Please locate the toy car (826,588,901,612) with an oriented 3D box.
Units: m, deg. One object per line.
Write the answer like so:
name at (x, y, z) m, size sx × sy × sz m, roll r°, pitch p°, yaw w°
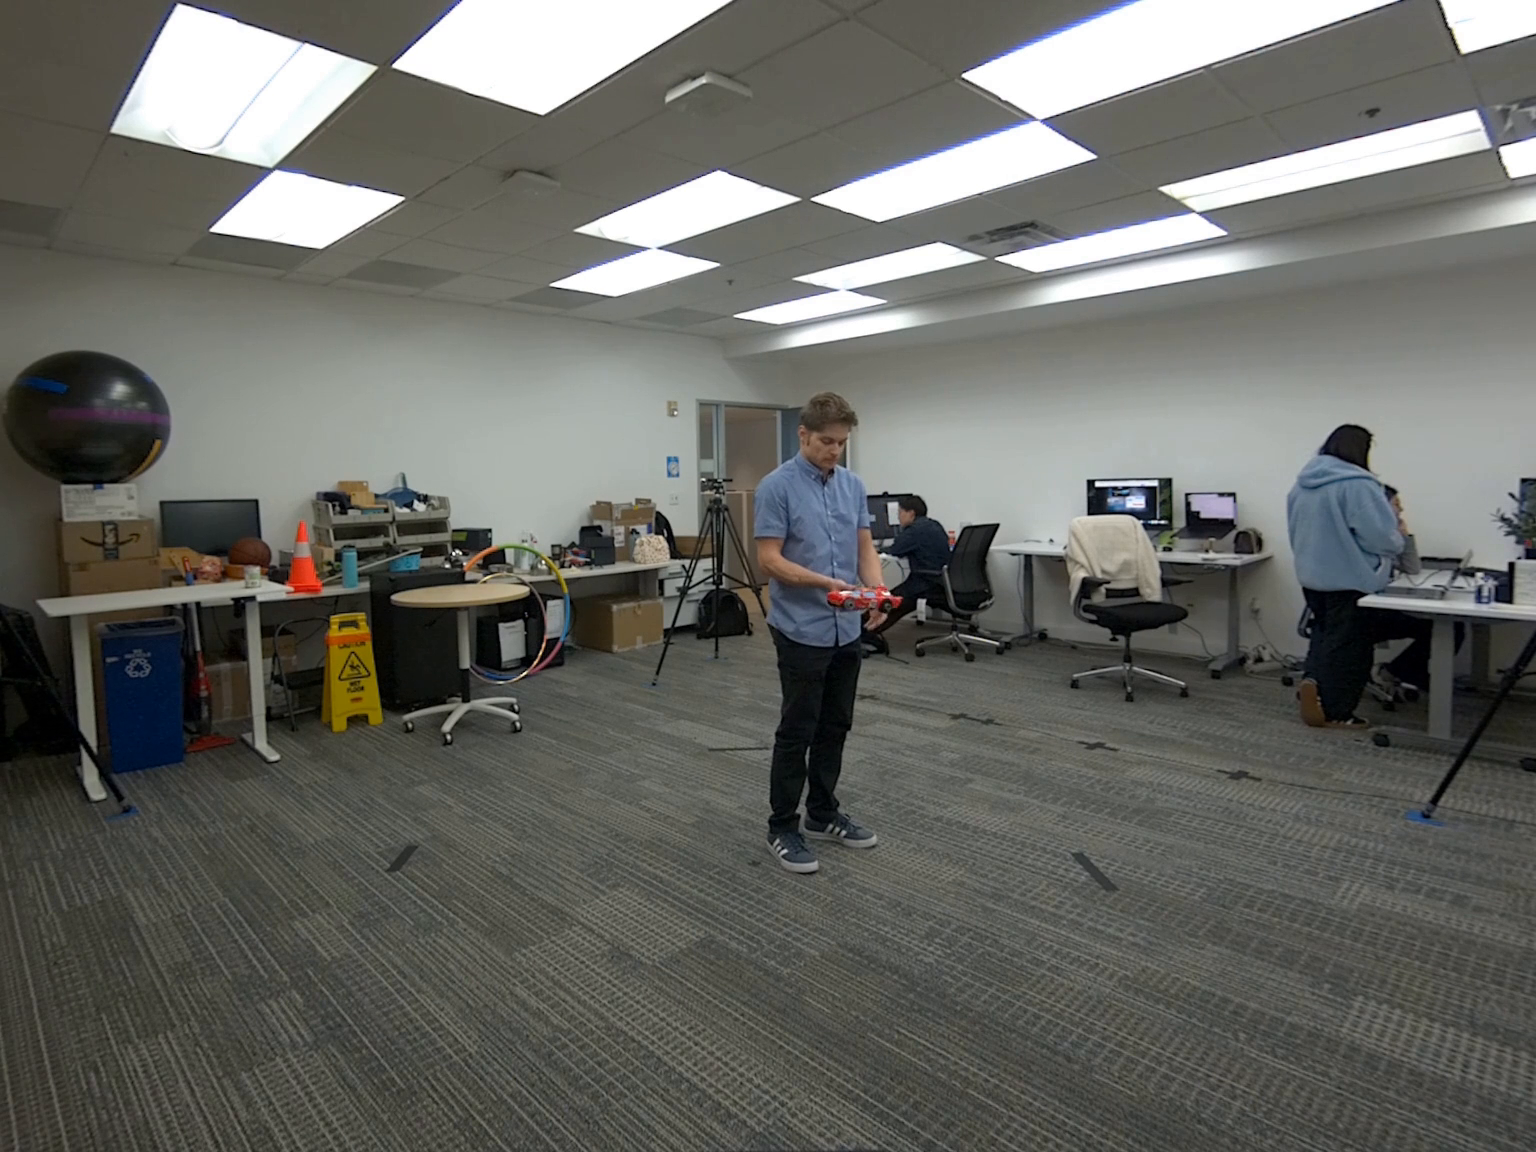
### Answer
toy car at (0.329, 0.082, 2.852) m, size 0.249 × 0.083 × 0.134 m, roll -5°, pitch 9°, yaw -24°
